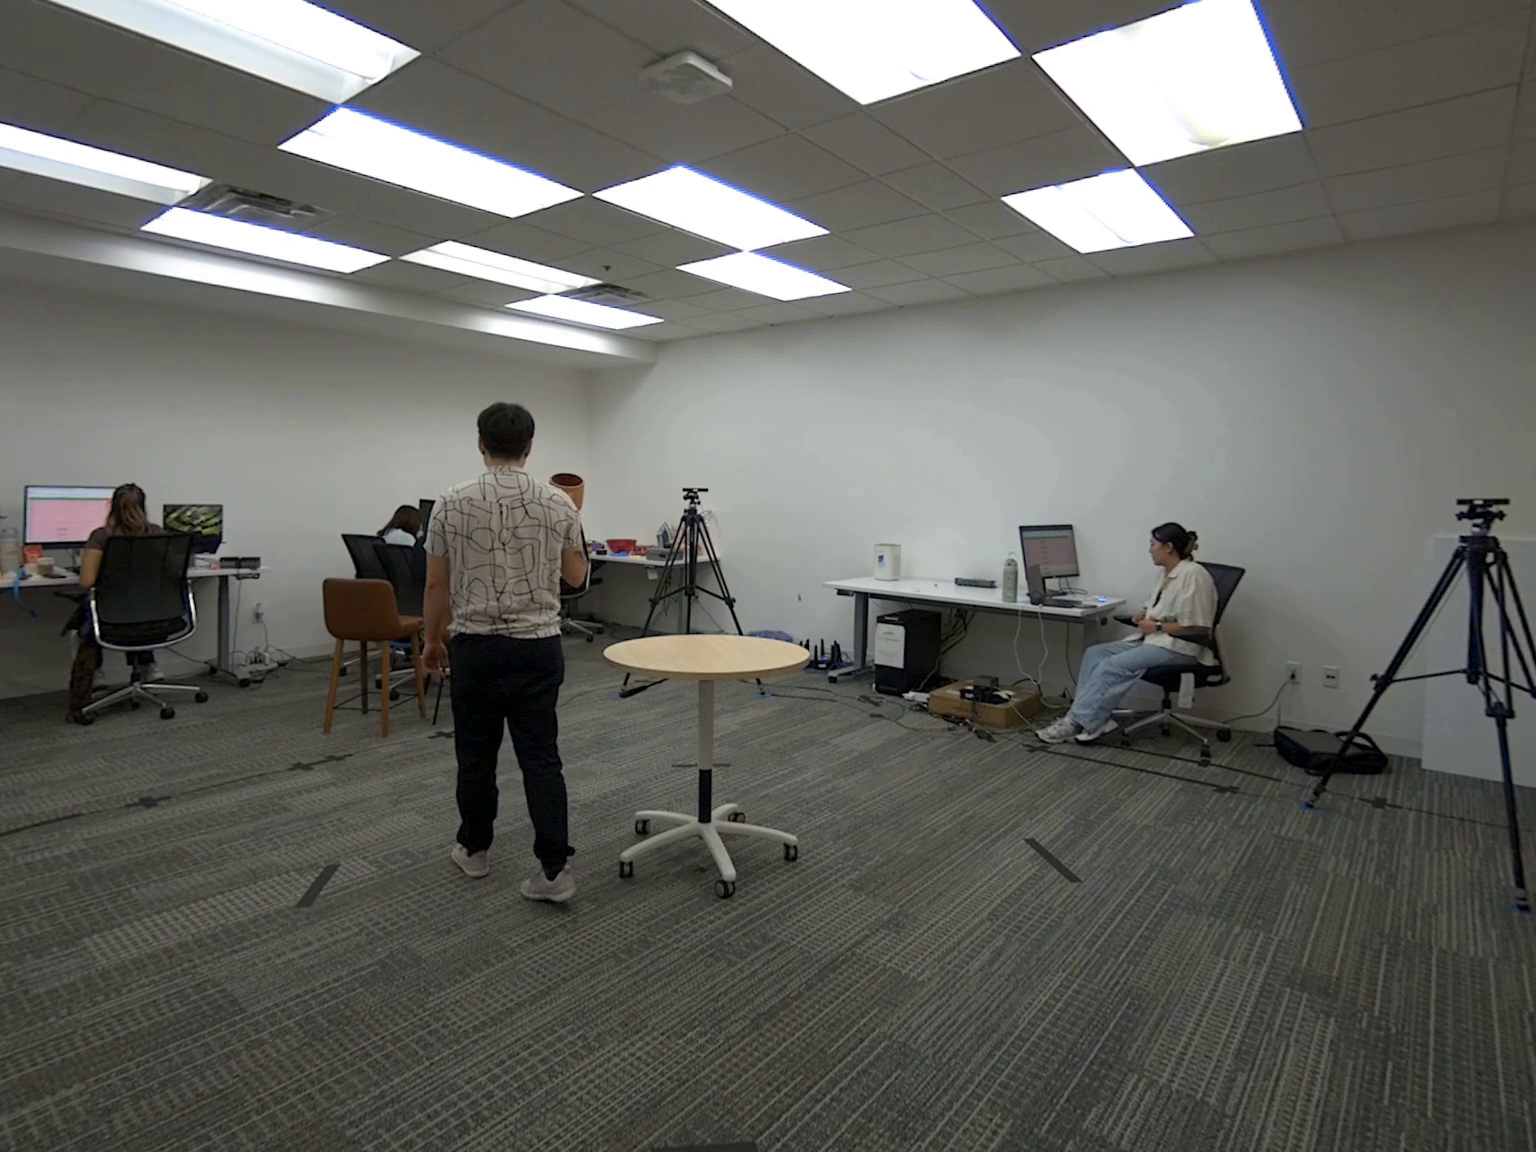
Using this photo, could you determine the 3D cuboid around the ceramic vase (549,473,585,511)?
[{"bbox_3d":[-0.786,-0.270,3.263,0.137,0.216,0.158,20,29,15],"label":"ceramic vase"}]
